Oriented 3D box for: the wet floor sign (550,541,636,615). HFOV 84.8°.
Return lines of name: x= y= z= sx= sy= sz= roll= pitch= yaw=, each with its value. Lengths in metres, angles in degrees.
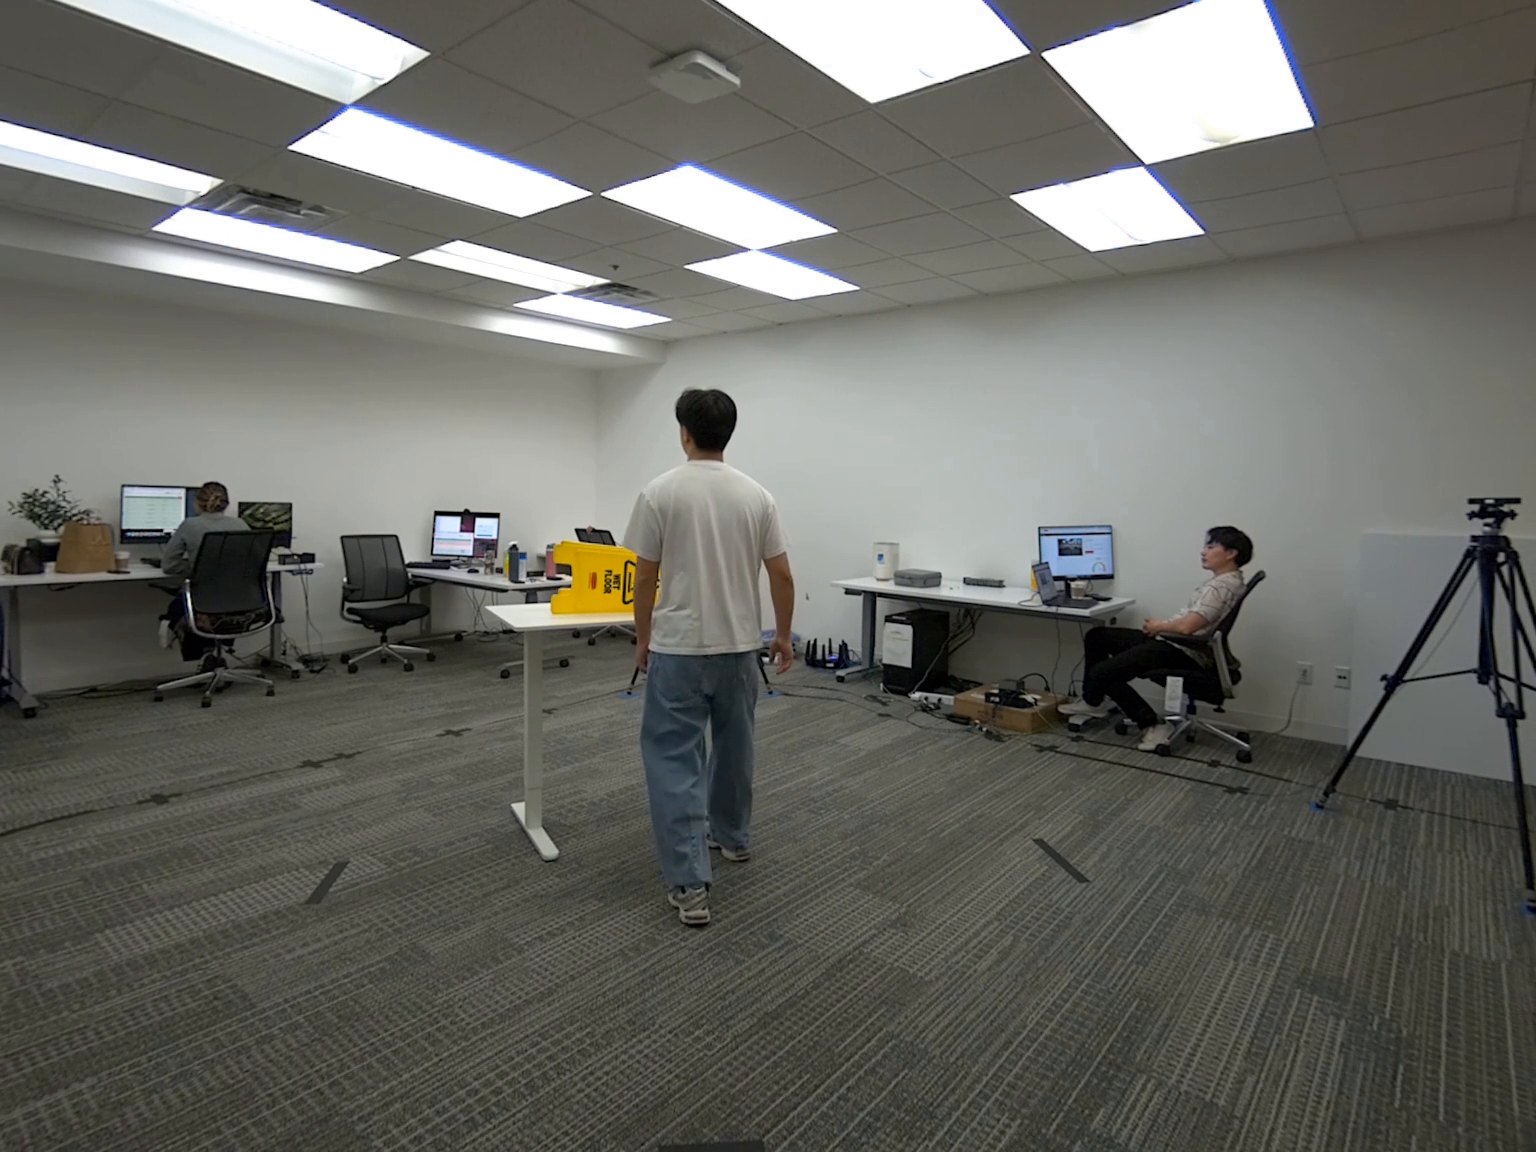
wet floor sign: x=-0.562 y=0.015 z=3.501 sx=0.643 sy=0.281 sz=0.292 roll=3 pitch=4 yaw=-4
